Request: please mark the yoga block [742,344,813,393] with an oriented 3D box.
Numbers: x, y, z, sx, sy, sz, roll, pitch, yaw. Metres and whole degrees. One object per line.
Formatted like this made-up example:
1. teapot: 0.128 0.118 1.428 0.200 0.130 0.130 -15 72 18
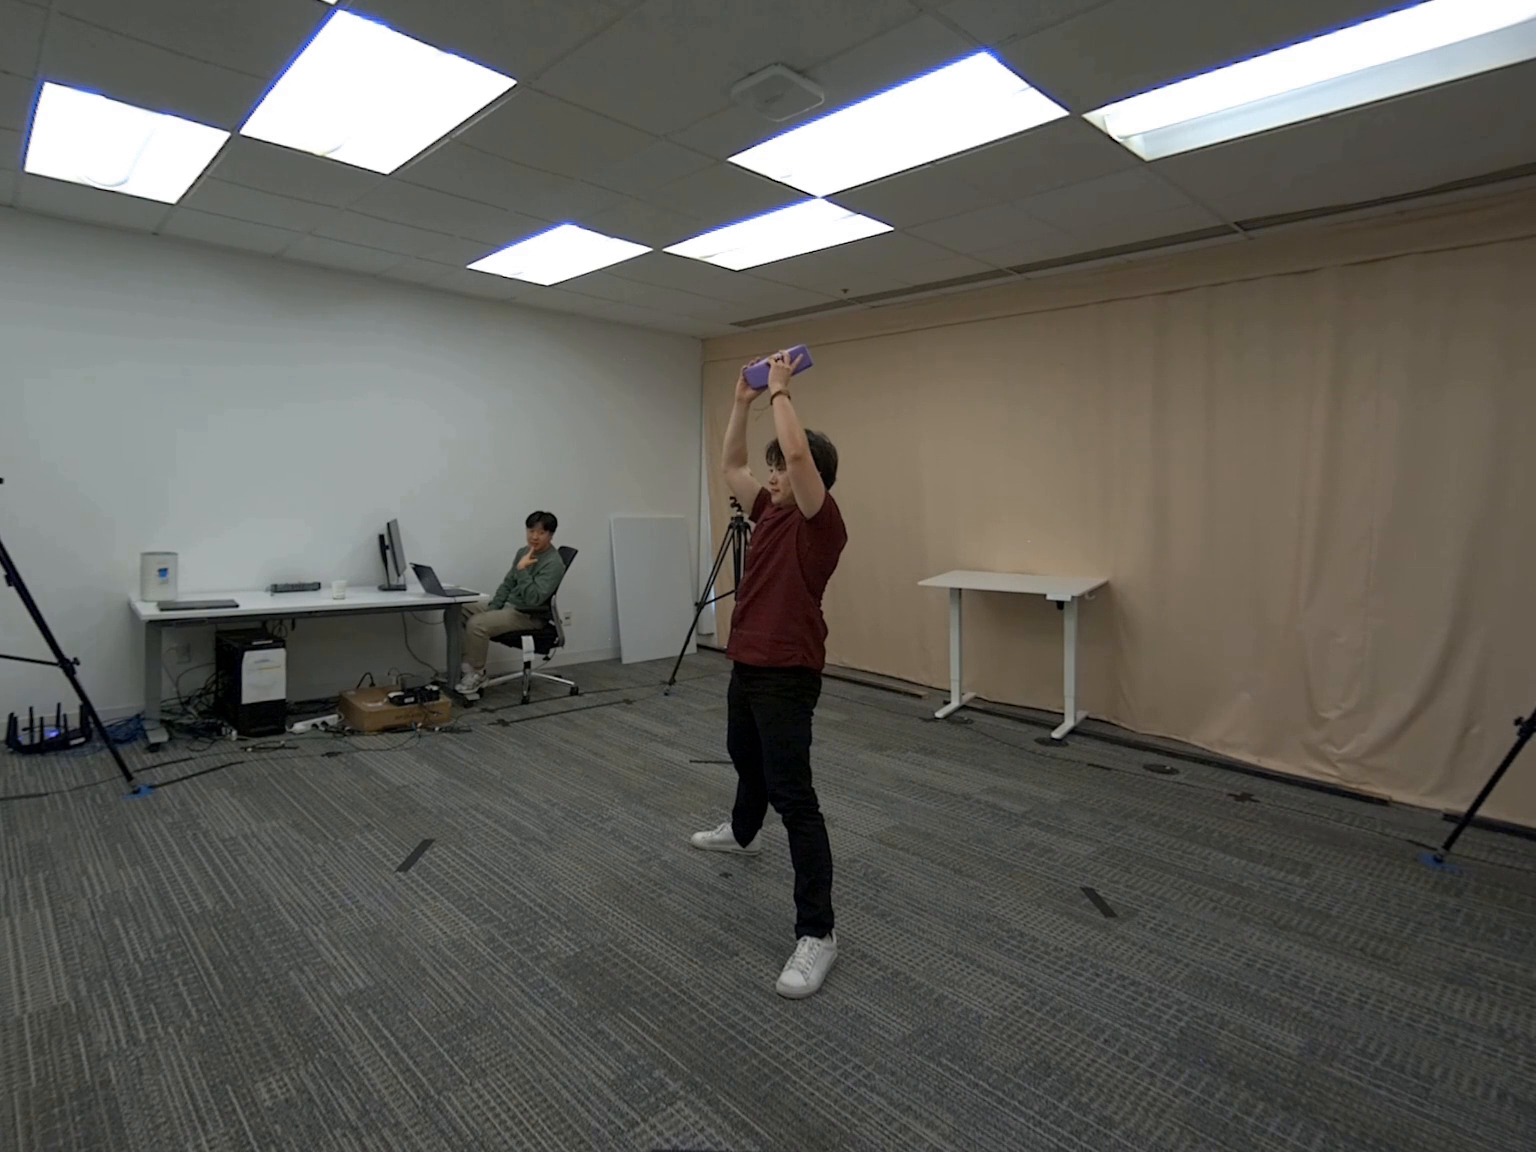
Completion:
1. yoga block: 0.018 -0.696 2.808 0.148 0.075 0.234 -31 17 -19
